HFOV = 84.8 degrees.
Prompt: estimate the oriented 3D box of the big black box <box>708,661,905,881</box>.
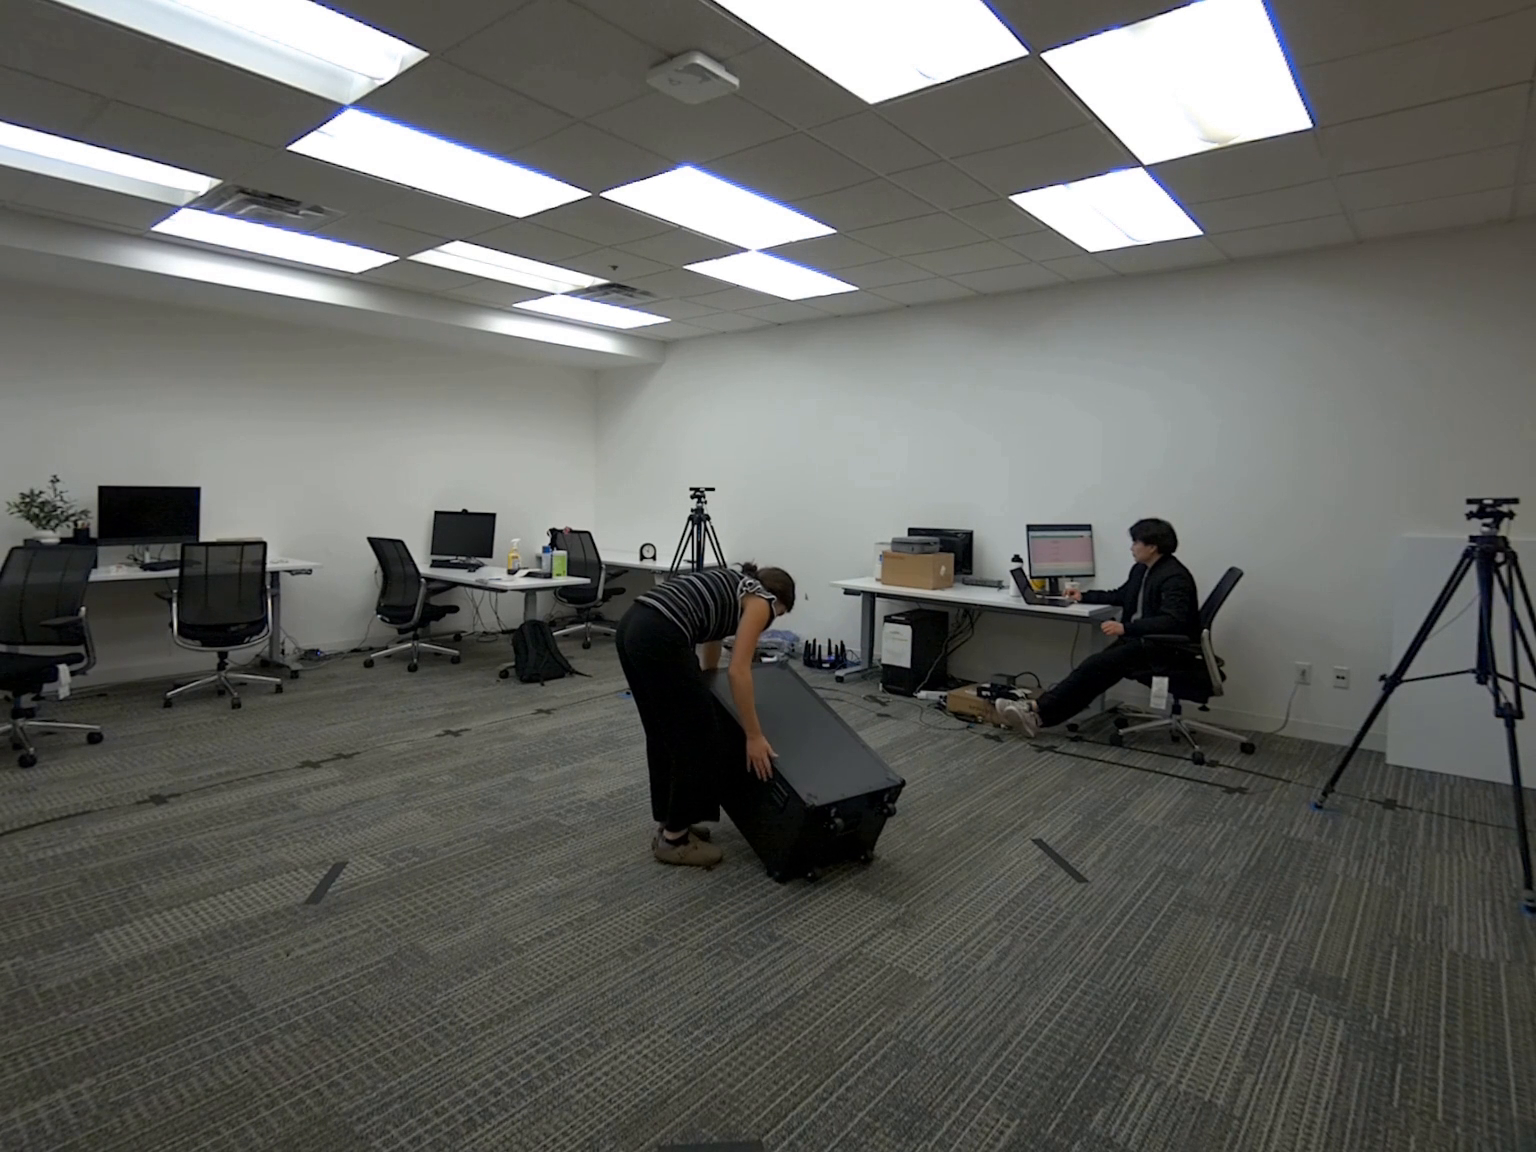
[{"bbox_3d":[0.062,0.747,3.330,0.506,0.391,0.899,-2,30,-37],"label":"big black box"}]
